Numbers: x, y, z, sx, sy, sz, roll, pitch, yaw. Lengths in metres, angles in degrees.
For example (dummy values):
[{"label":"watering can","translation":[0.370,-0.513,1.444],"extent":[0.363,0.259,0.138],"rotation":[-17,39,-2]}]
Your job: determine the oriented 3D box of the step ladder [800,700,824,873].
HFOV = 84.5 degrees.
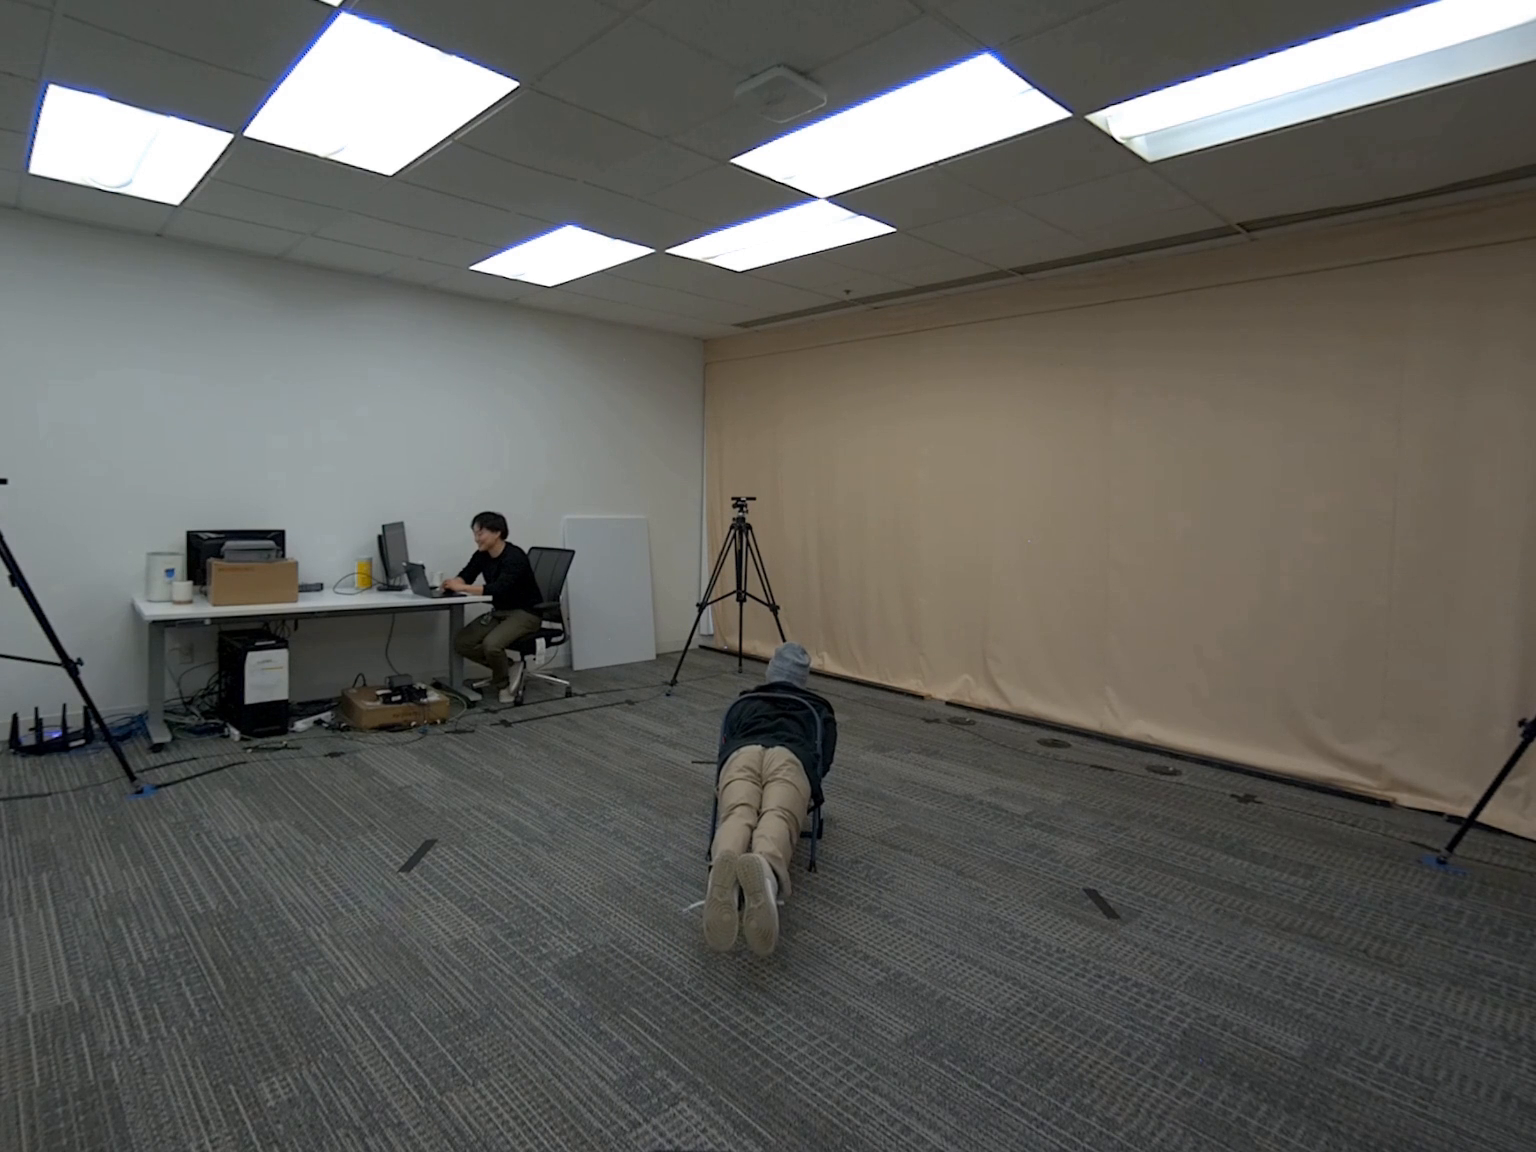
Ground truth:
[{"label":"step ladder","translation":[-0.006,0.797,3.352],"extent":[0.434,0.605,0.347],"rotation":[2,3,10]}]
